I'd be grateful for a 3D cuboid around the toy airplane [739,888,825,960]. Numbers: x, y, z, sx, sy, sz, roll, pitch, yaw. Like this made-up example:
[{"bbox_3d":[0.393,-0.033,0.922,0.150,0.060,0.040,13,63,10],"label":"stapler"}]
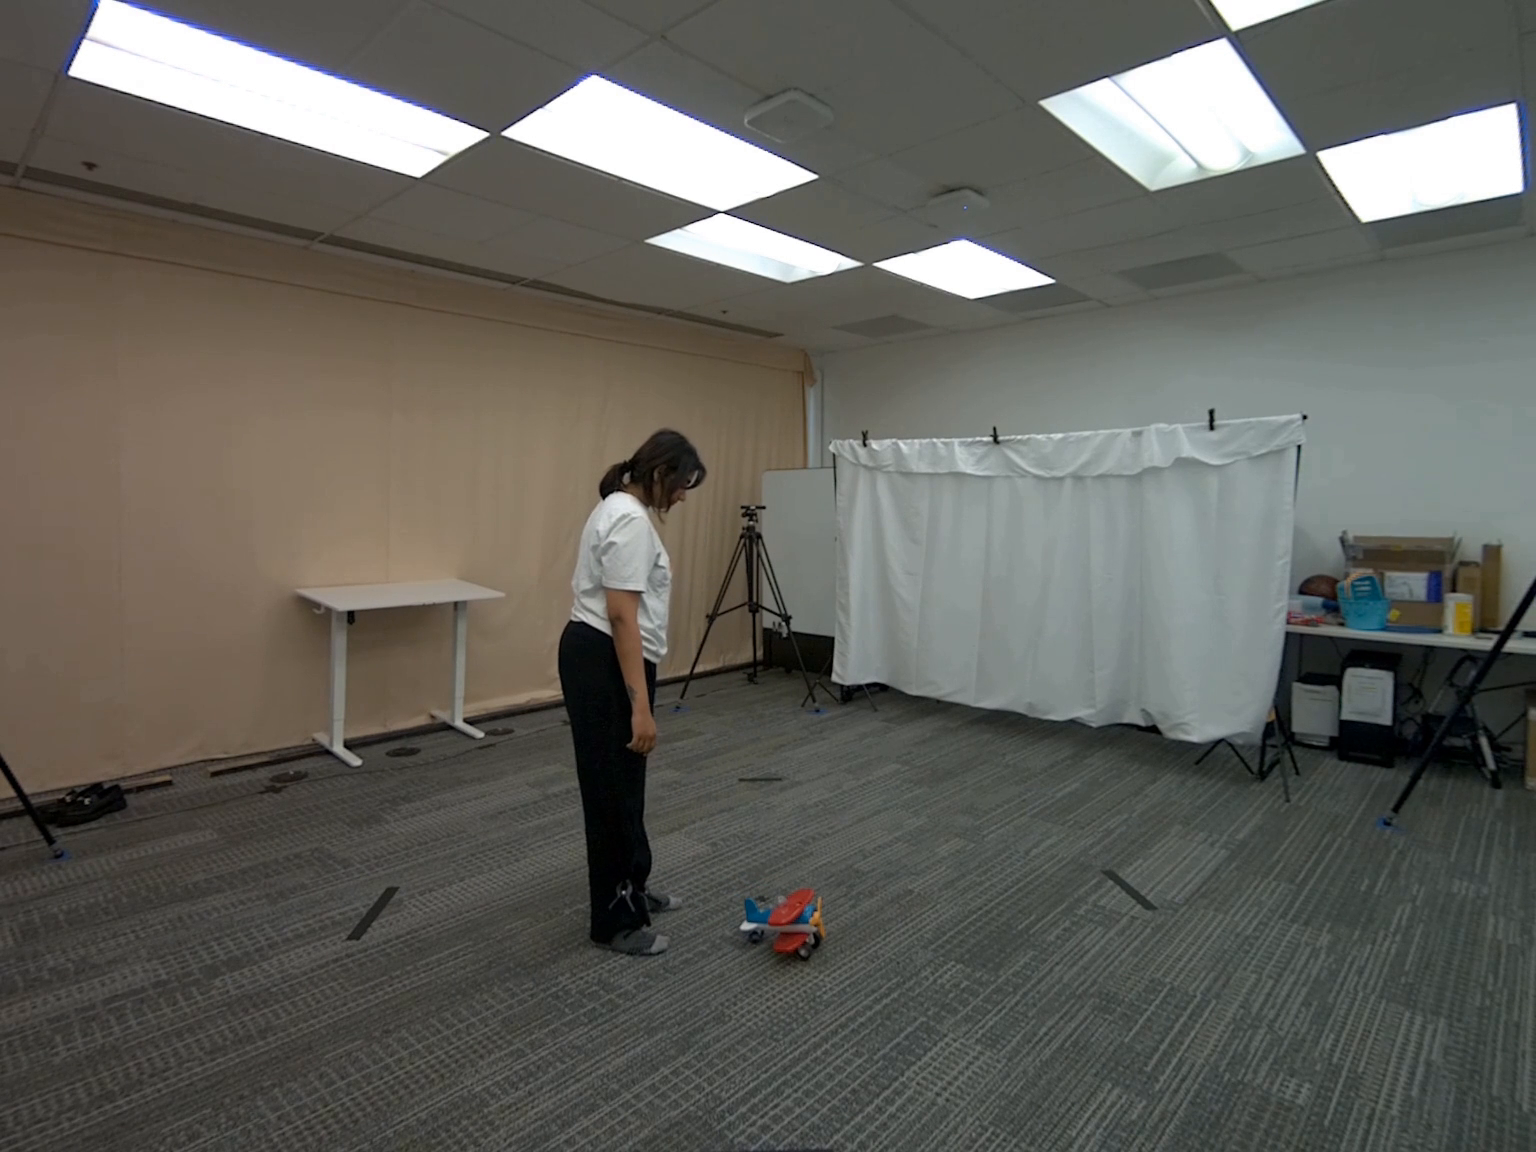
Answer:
[{"bbox_3d":[0.047,1.098,2.632,0.258,0.156,0.252,0,4,-4],"label":"toy airplane"}]
